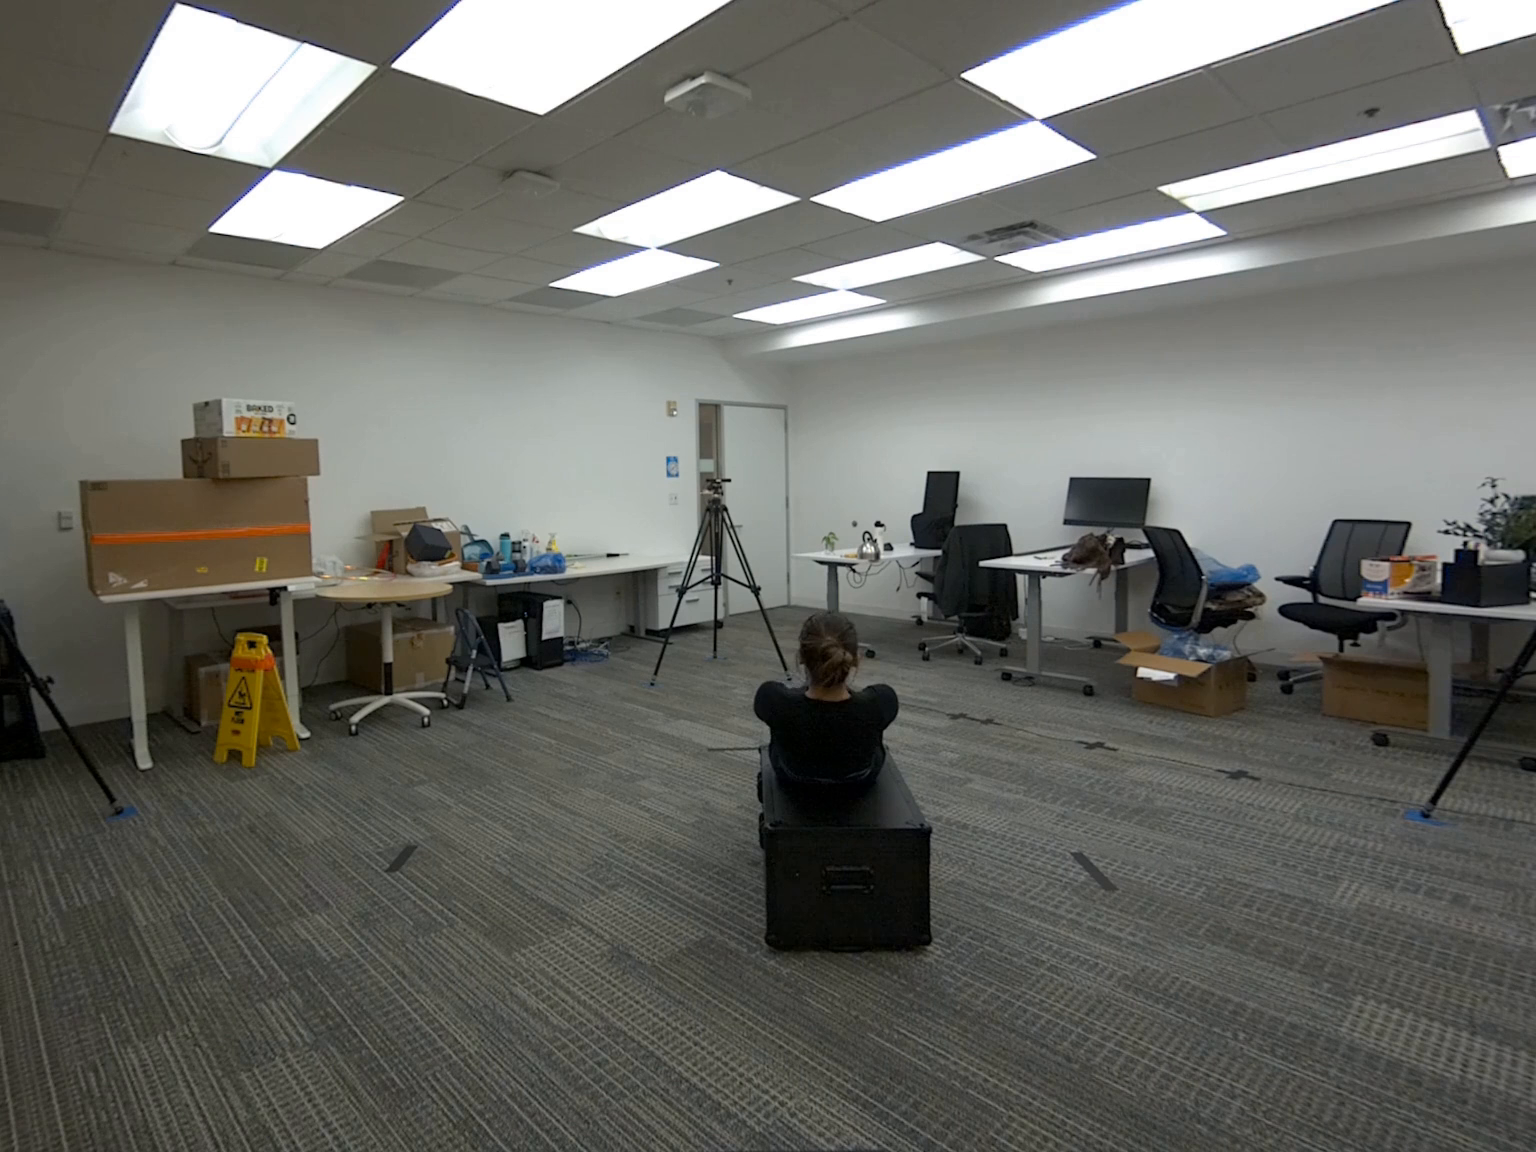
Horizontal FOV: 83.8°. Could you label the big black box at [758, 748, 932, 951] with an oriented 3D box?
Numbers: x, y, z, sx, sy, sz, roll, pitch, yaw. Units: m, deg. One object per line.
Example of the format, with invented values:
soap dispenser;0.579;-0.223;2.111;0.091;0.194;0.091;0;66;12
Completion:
big black box;0.226;0.861;2.913;0.521;0.394;0.865;-1;6;-1
